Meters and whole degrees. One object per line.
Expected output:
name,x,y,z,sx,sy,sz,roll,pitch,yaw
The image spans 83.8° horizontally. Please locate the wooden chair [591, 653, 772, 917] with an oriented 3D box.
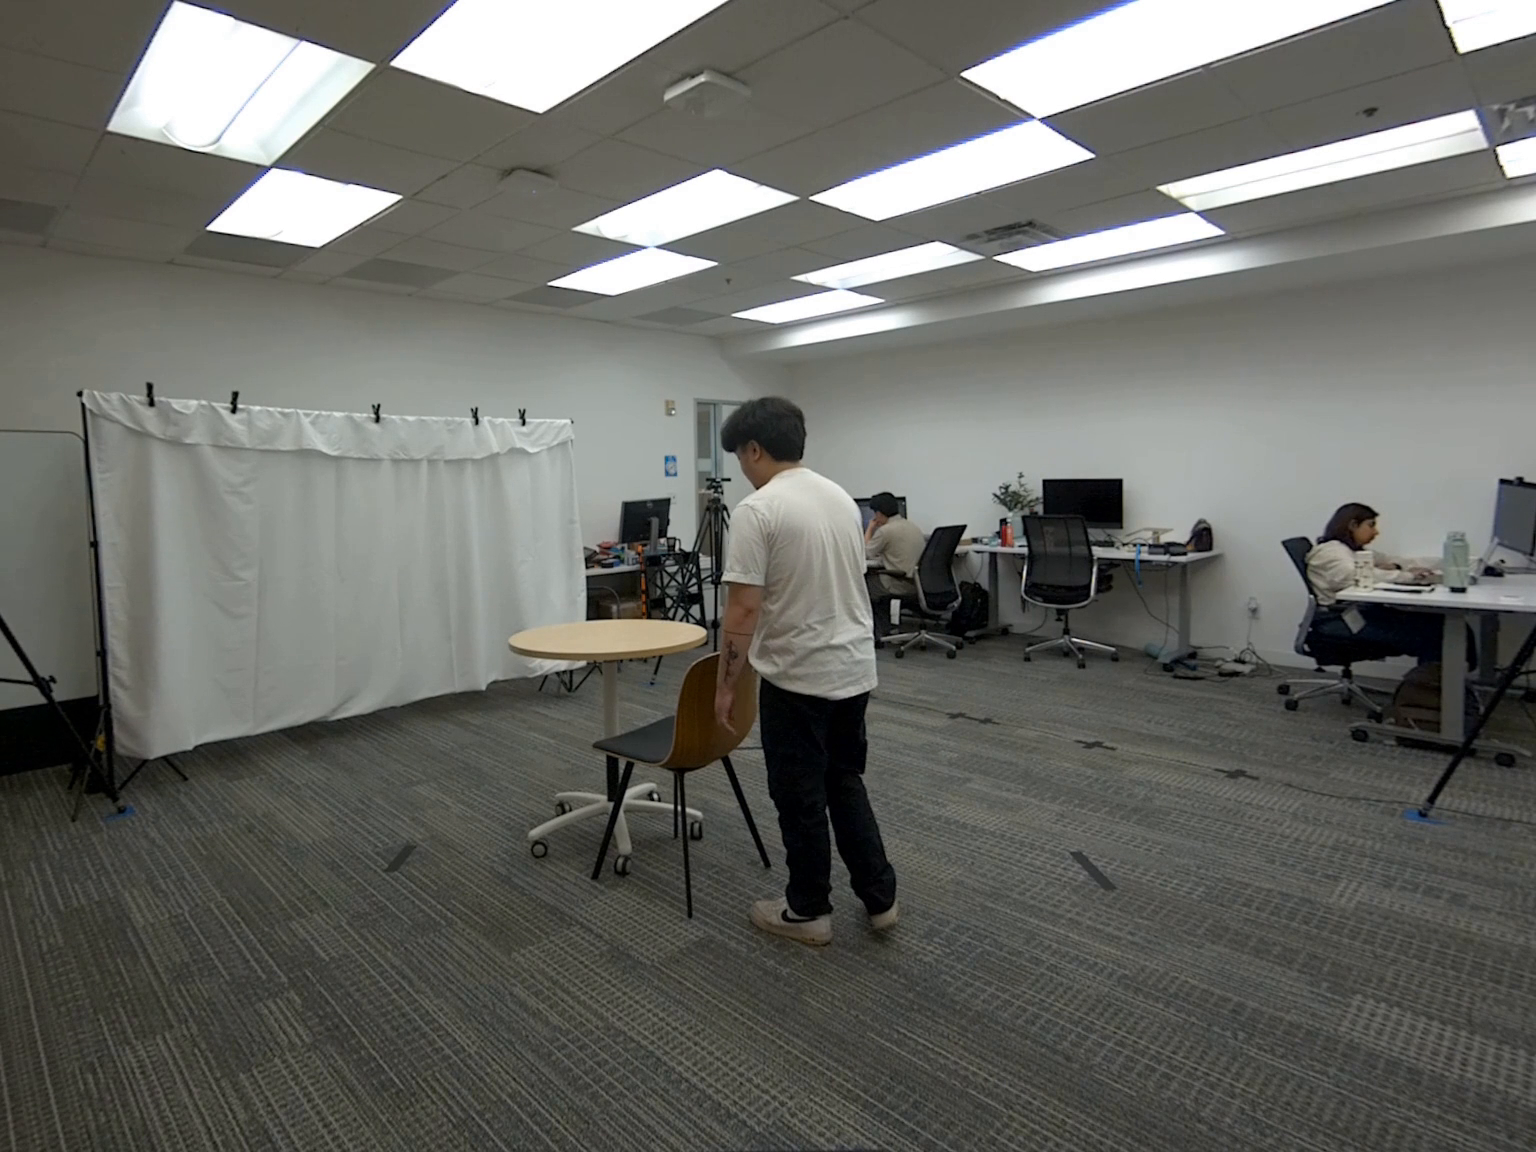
wooden chair,-0.312,0.632,3.002,0.539,0.872,0.466,7,9,37
